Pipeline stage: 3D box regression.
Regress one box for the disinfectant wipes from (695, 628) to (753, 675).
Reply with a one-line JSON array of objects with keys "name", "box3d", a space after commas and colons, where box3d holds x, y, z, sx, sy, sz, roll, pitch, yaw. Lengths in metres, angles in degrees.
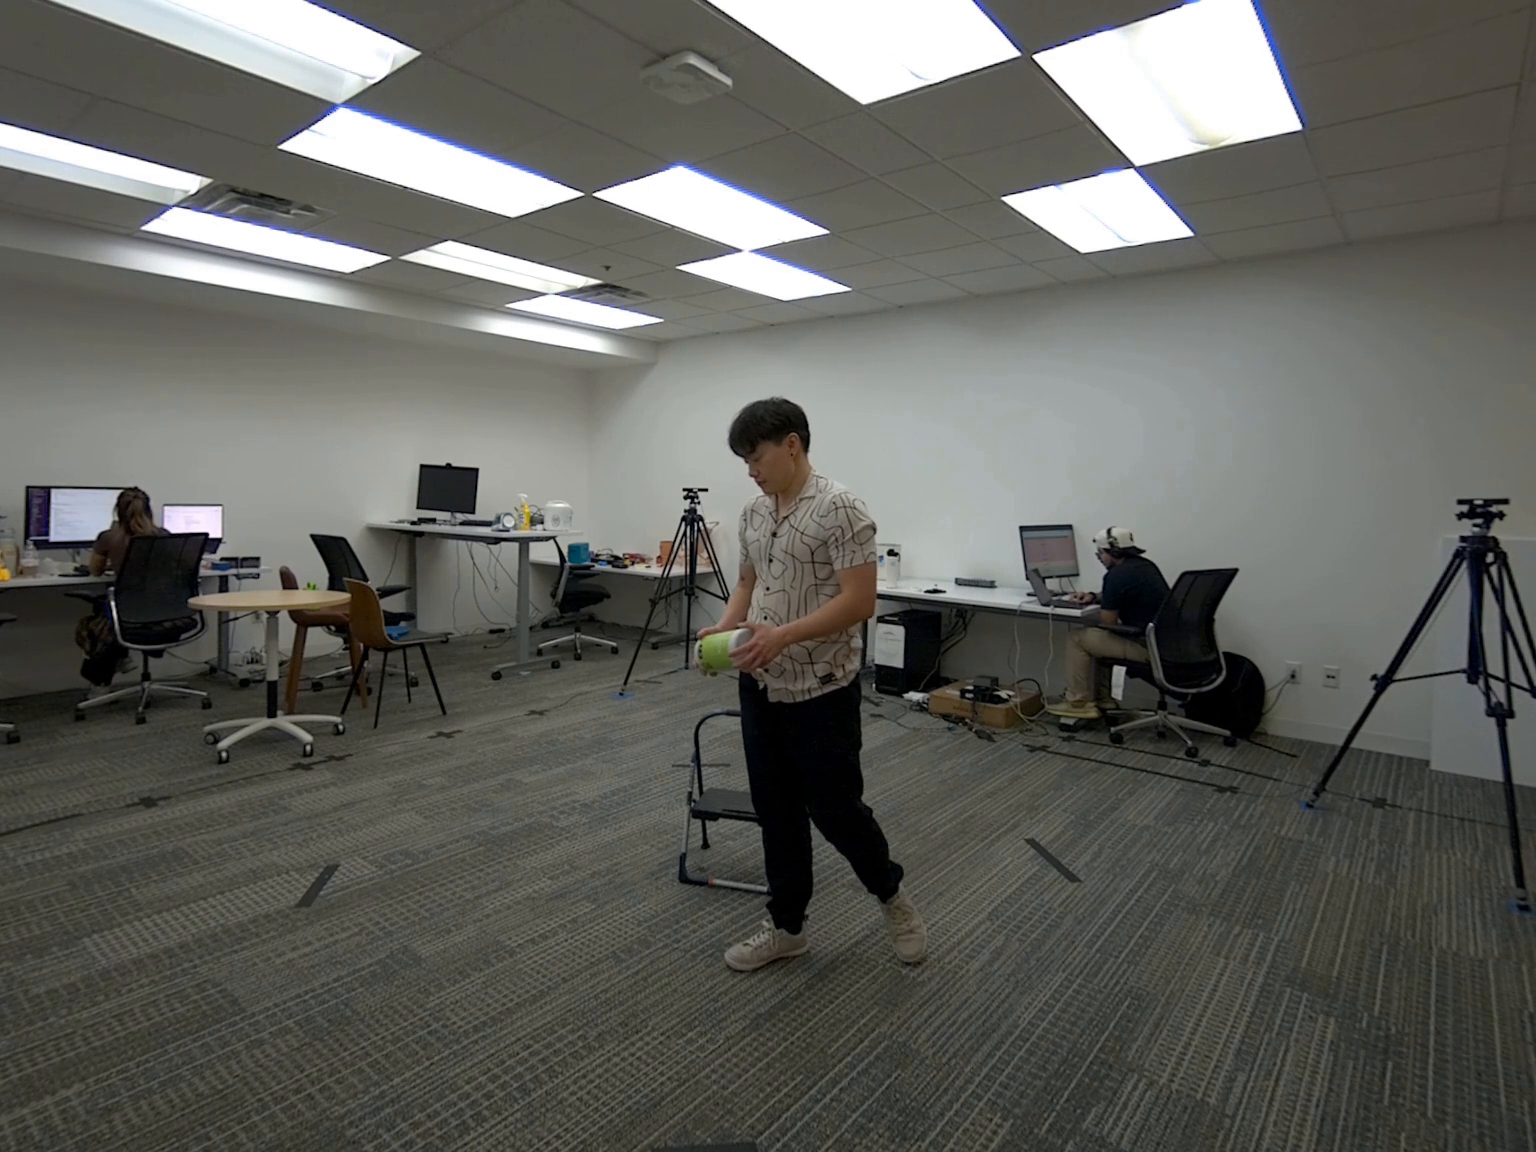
[{"name": "disinfectant wipes", "box3d": [-0.117, 0.205, 2.386, 0.114, 0.119, 0.222, -2, -8, -33]}]
